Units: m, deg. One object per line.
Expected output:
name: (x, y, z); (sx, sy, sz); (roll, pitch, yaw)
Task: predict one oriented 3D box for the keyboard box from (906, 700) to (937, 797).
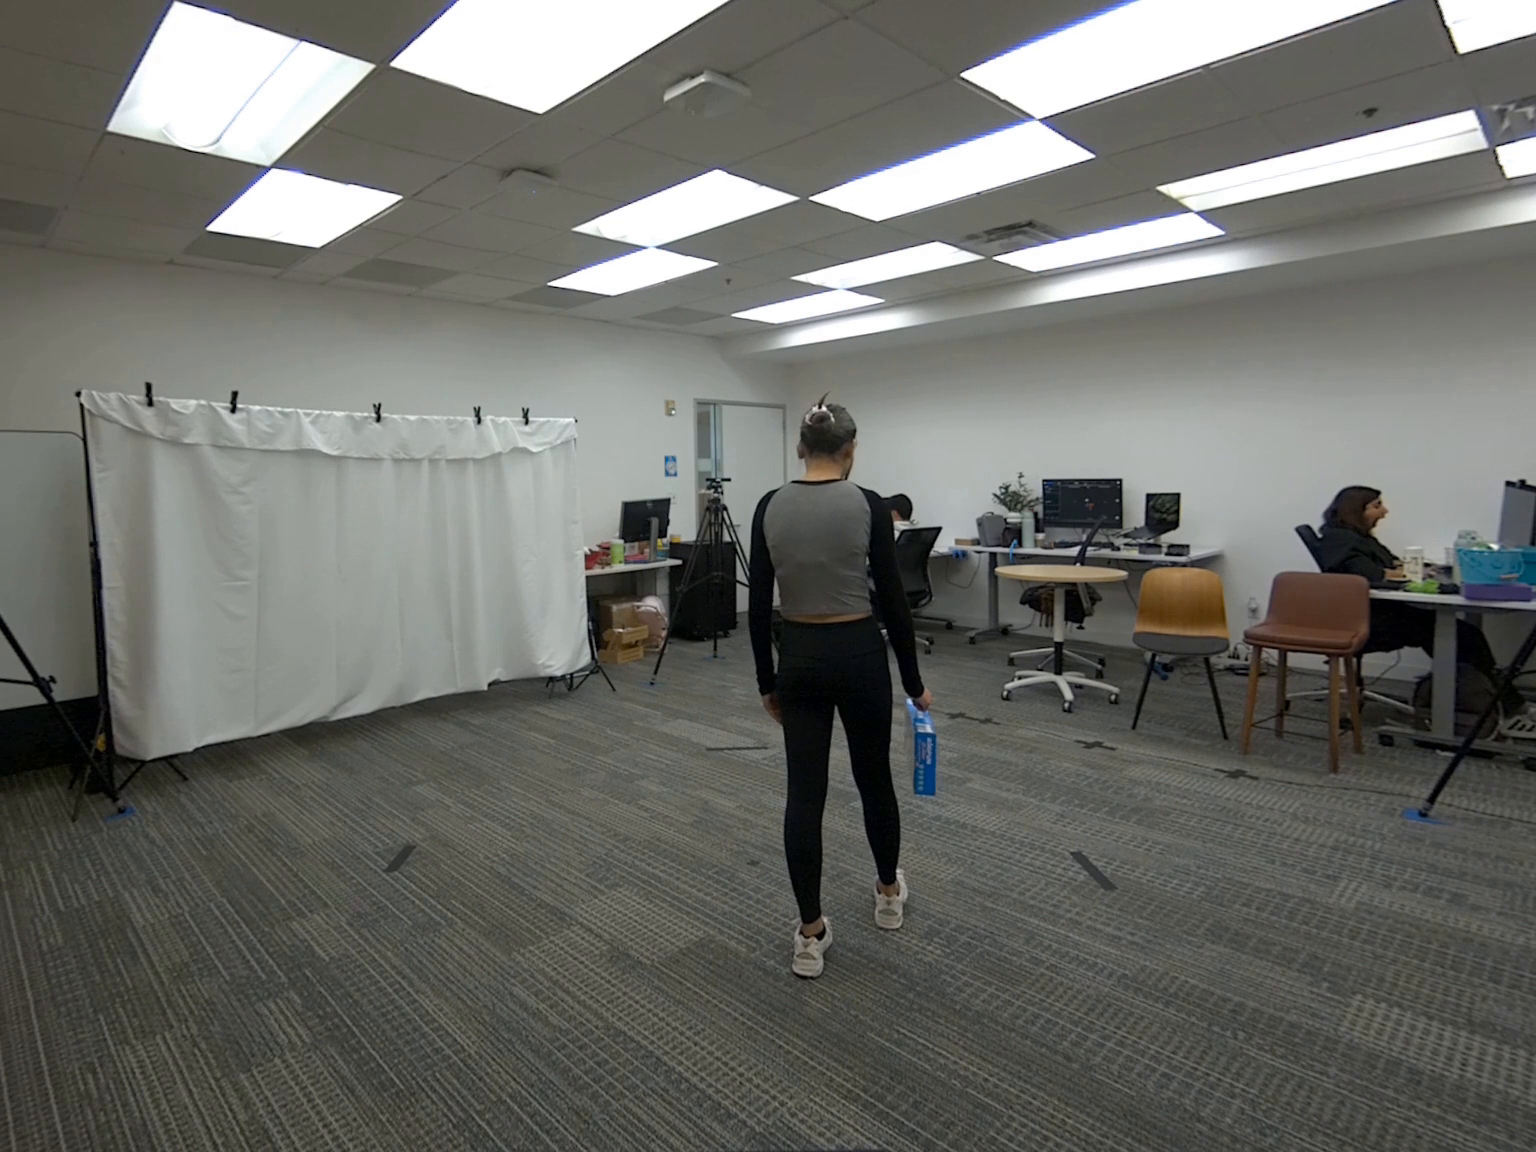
keyboard box: (0.457, 0.493, 2.551); (0.059, 0.175, 0.436); (1, 5, 4)
